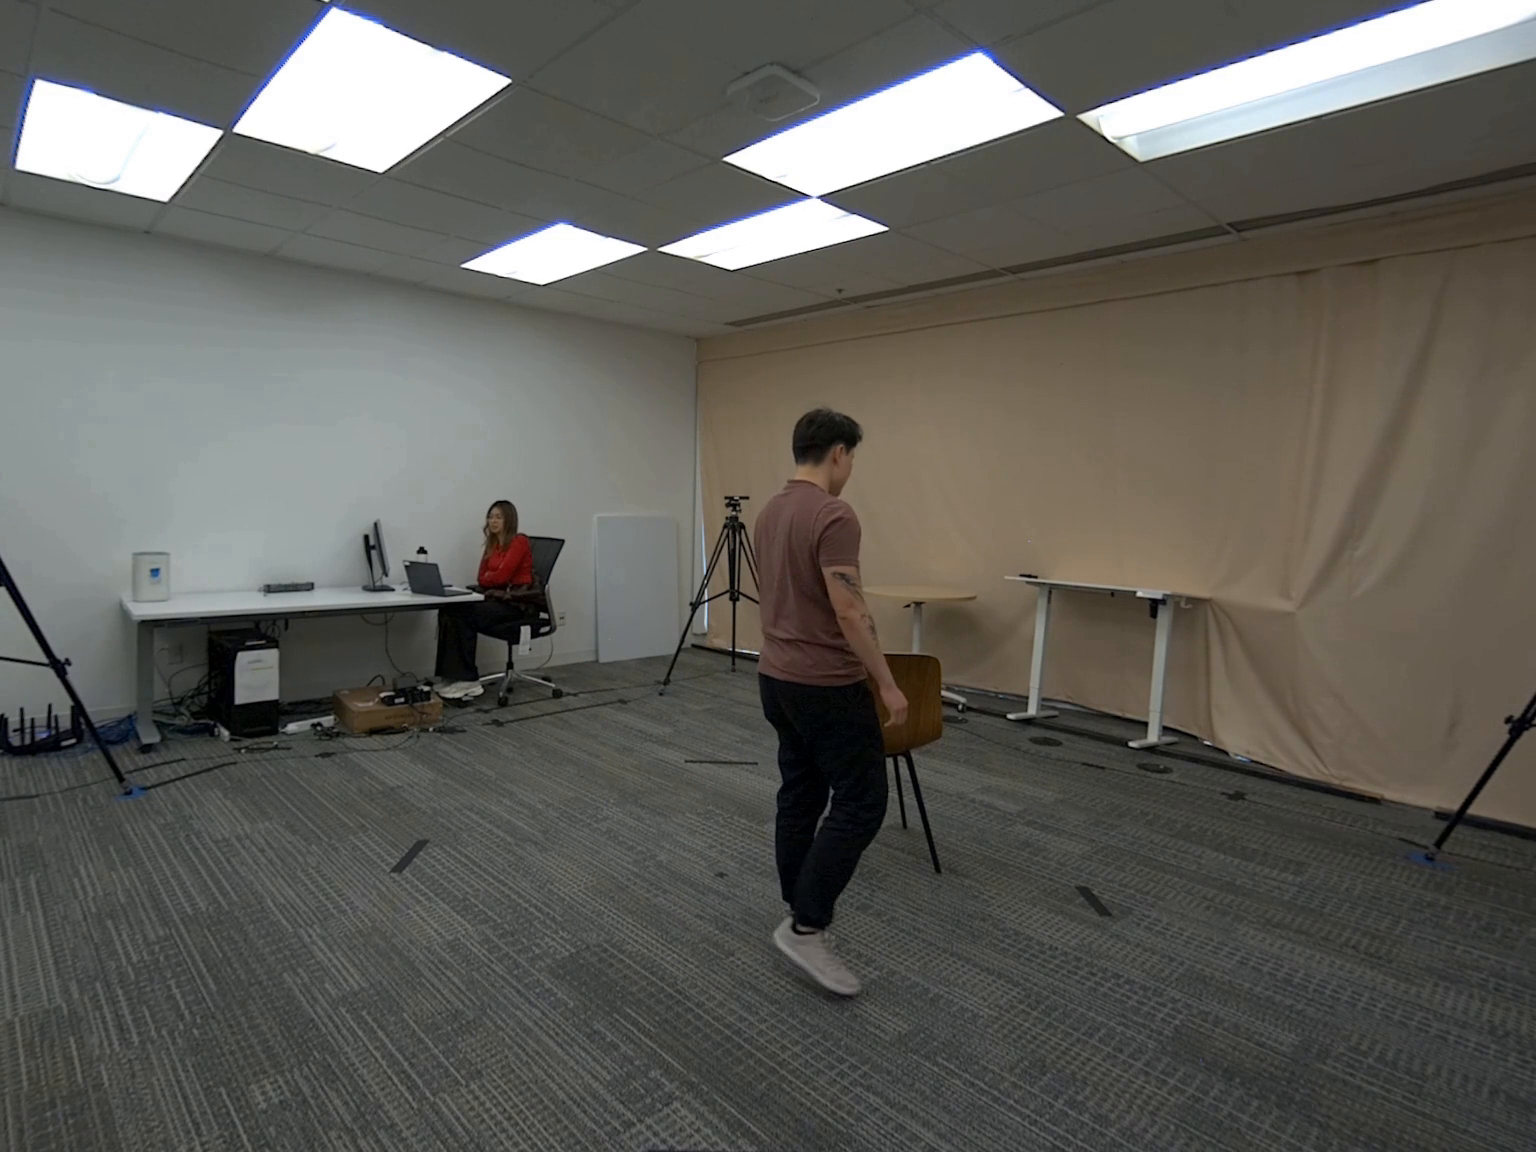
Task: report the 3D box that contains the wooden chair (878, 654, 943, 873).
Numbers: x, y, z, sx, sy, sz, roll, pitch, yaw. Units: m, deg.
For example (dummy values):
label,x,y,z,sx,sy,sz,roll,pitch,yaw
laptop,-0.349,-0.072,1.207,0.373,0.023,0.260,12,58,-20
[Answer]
label,x,y,z,sx,sy,sz,roll,pitch,yaw
wooden chair,0.397,0.668,3.348,0.475,0.873,0.529,1,7,-7
